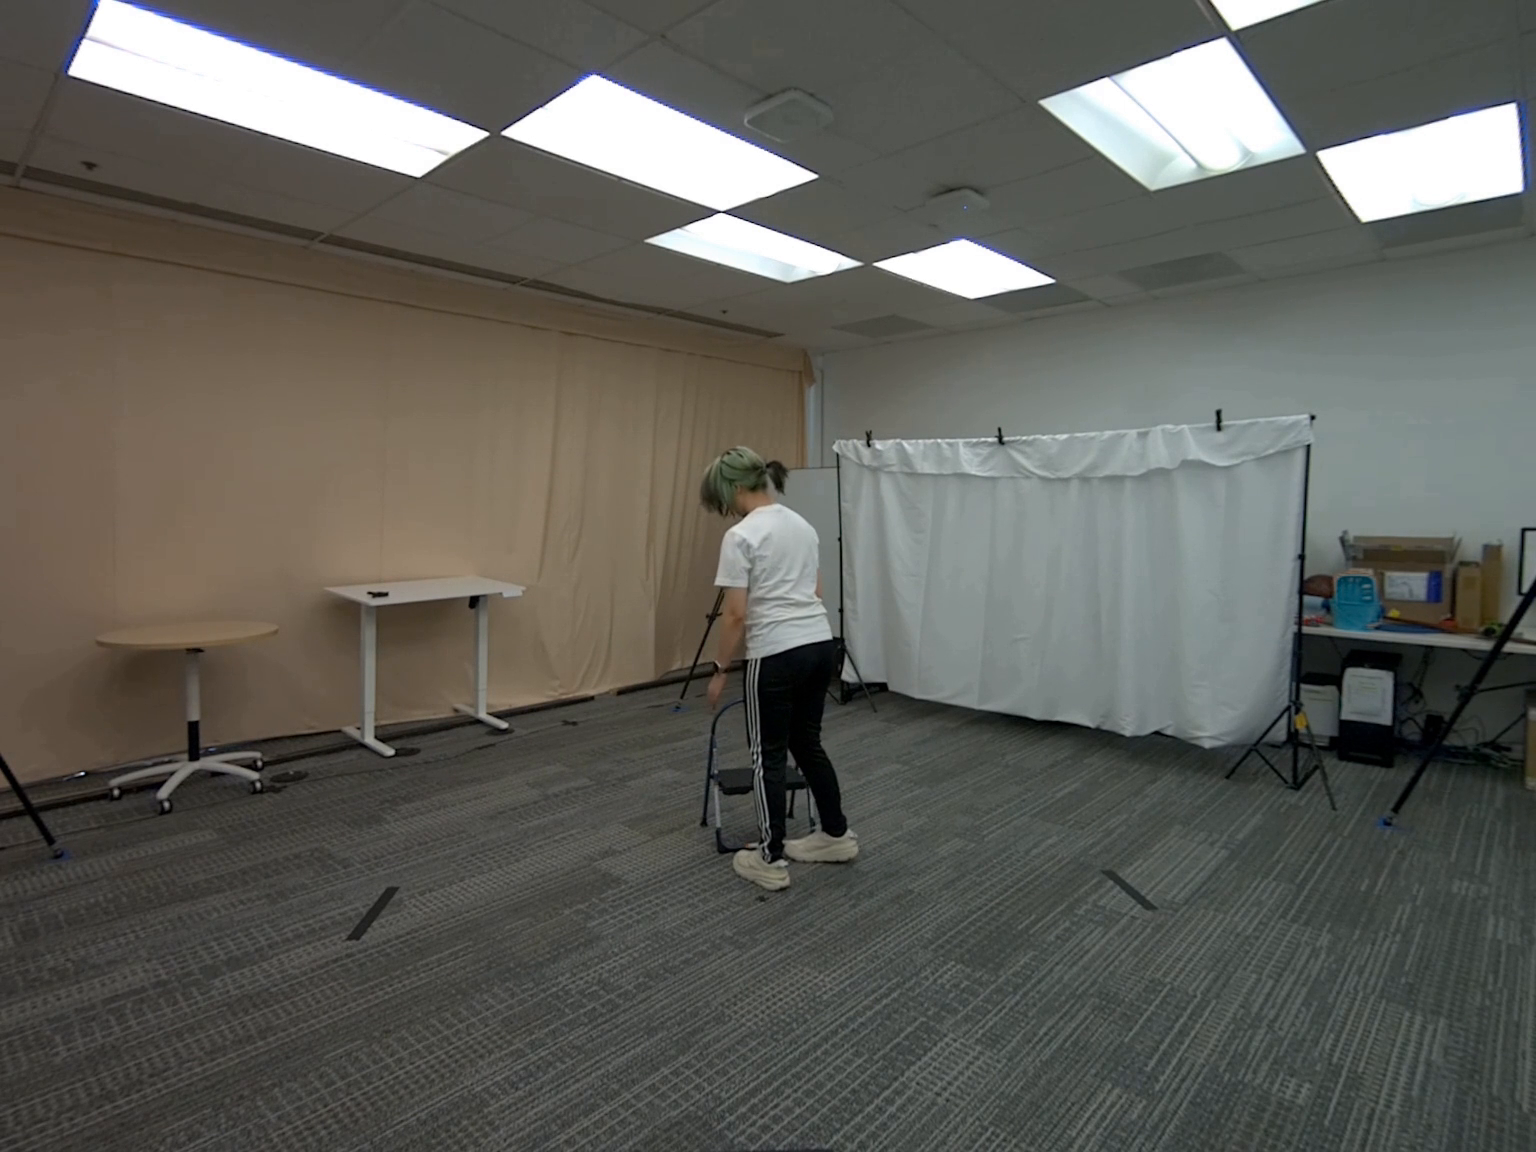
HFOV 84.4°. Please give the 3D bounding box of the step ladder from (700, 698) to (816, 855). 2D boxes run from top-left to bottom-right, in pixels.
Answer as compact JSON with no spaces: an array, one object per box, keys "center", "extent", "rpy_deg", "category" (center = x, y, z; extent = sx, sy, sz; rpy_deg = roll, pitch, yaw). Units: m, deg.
[{"center":[-0.048,0.795,3.563],"extent":[0.424,0.605,0.355],"rpy_deg":[-1,3,-15],"category":"step ladder"}]
